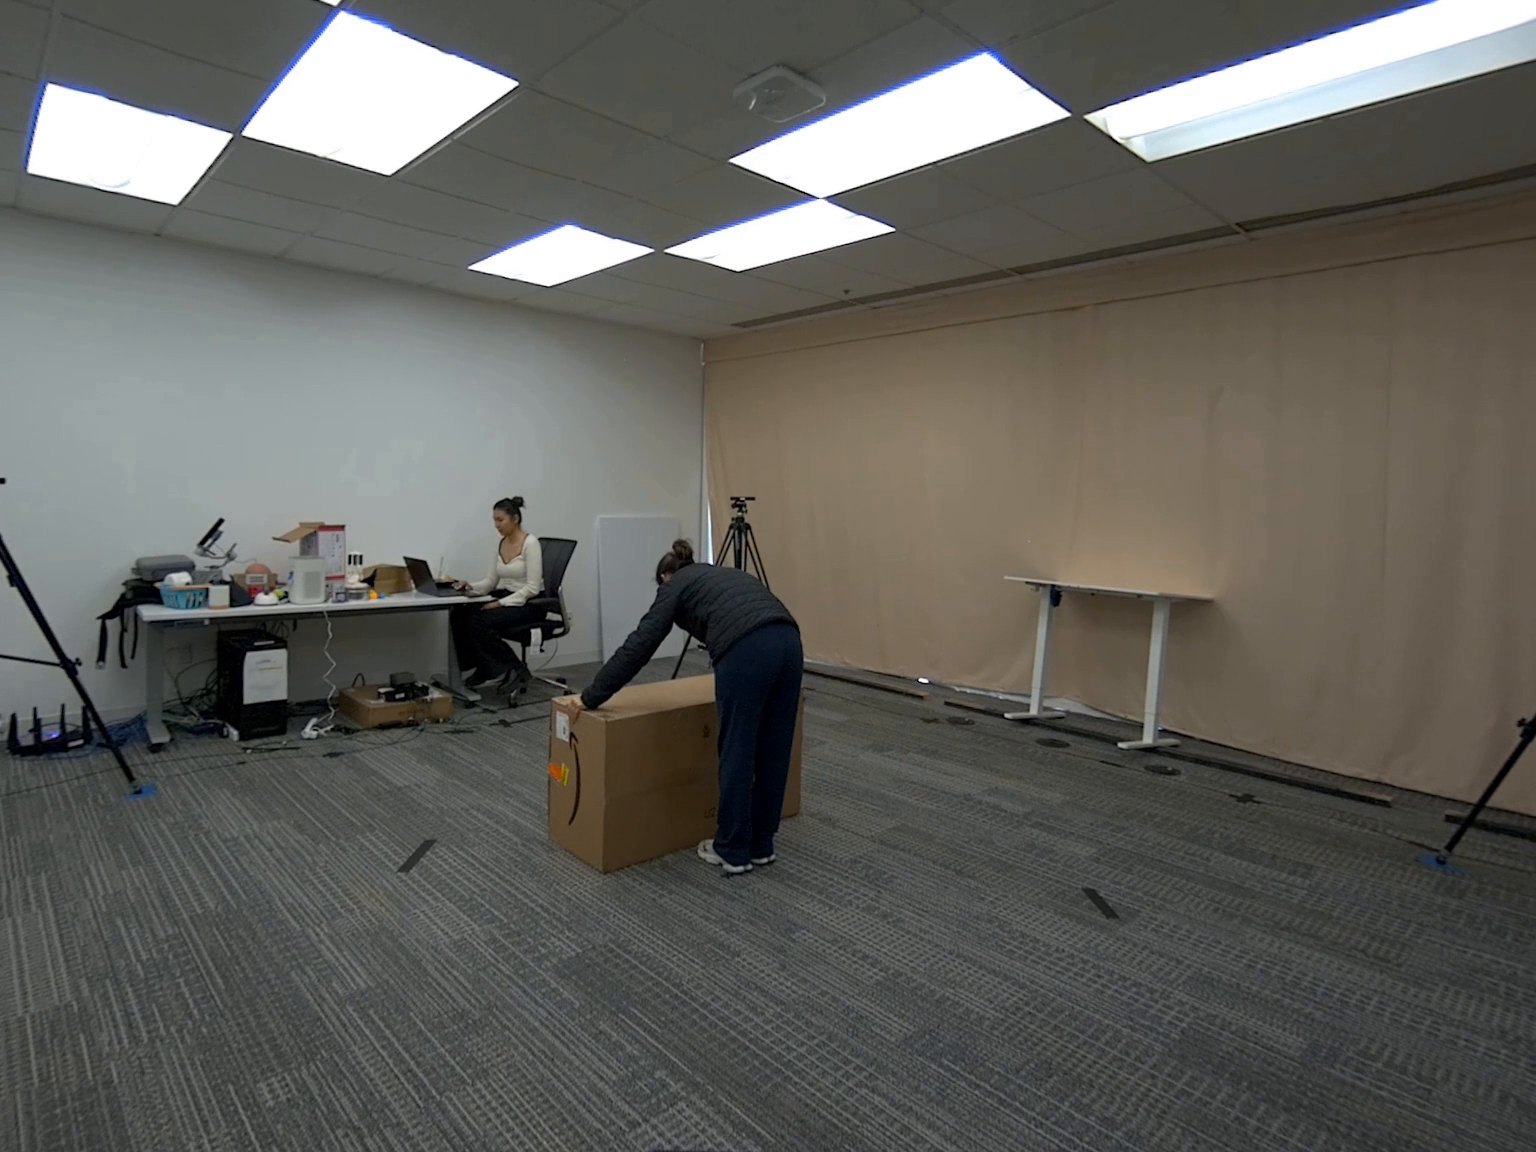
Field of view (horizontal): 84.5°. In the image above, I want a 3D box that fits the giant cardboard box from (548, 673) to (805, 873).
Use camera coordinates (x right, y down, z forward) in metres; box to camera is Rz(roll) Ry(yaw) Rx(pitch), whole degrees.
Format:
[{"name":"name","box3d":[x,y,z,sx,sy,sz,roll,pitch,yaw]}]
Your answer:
[{"name":"giant cardboard box","box3d":[-0.373,0.774,3.553,1.003,0.582,0.458,-2,6,-41]}]
